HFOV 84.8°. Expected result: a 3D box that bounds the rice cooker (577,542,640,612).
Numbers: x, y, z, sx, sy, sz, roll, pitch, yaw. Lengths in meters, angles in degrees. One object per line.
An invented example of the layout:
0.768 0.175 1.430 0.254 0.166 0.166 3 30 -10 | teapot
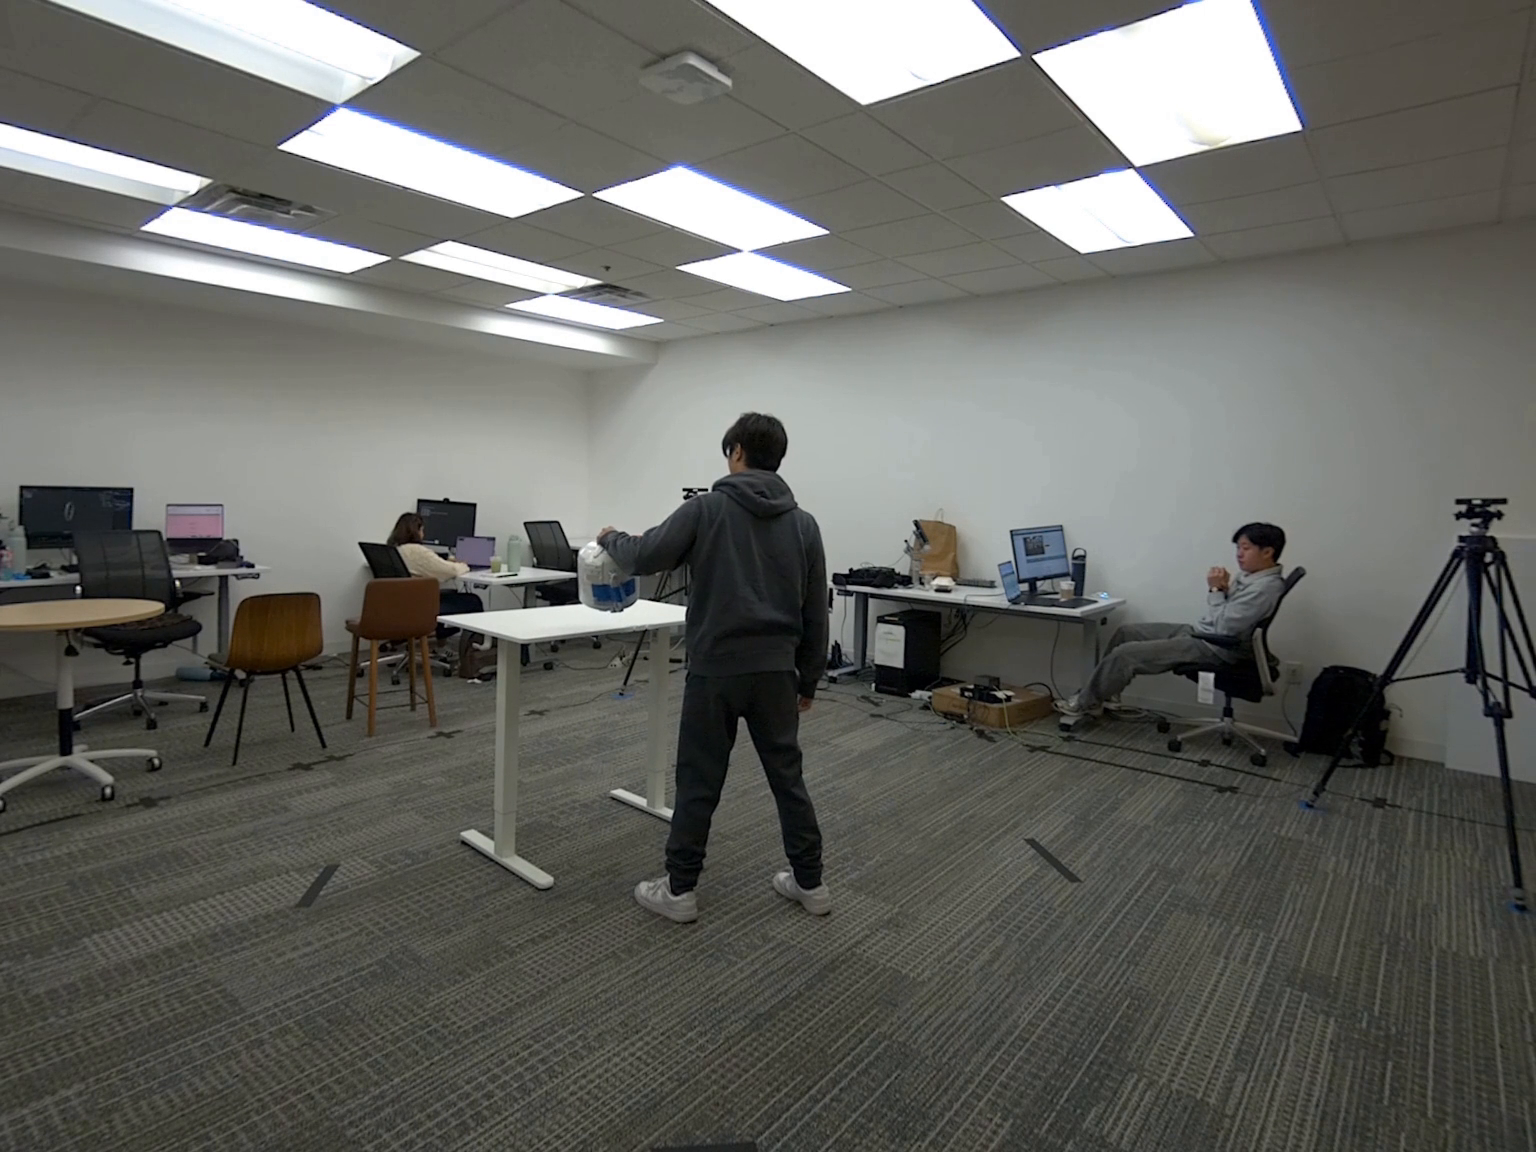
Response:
-0.564 -0.014 2.935 0.223 0.229 0.218 11 19 21 | rice cooker
